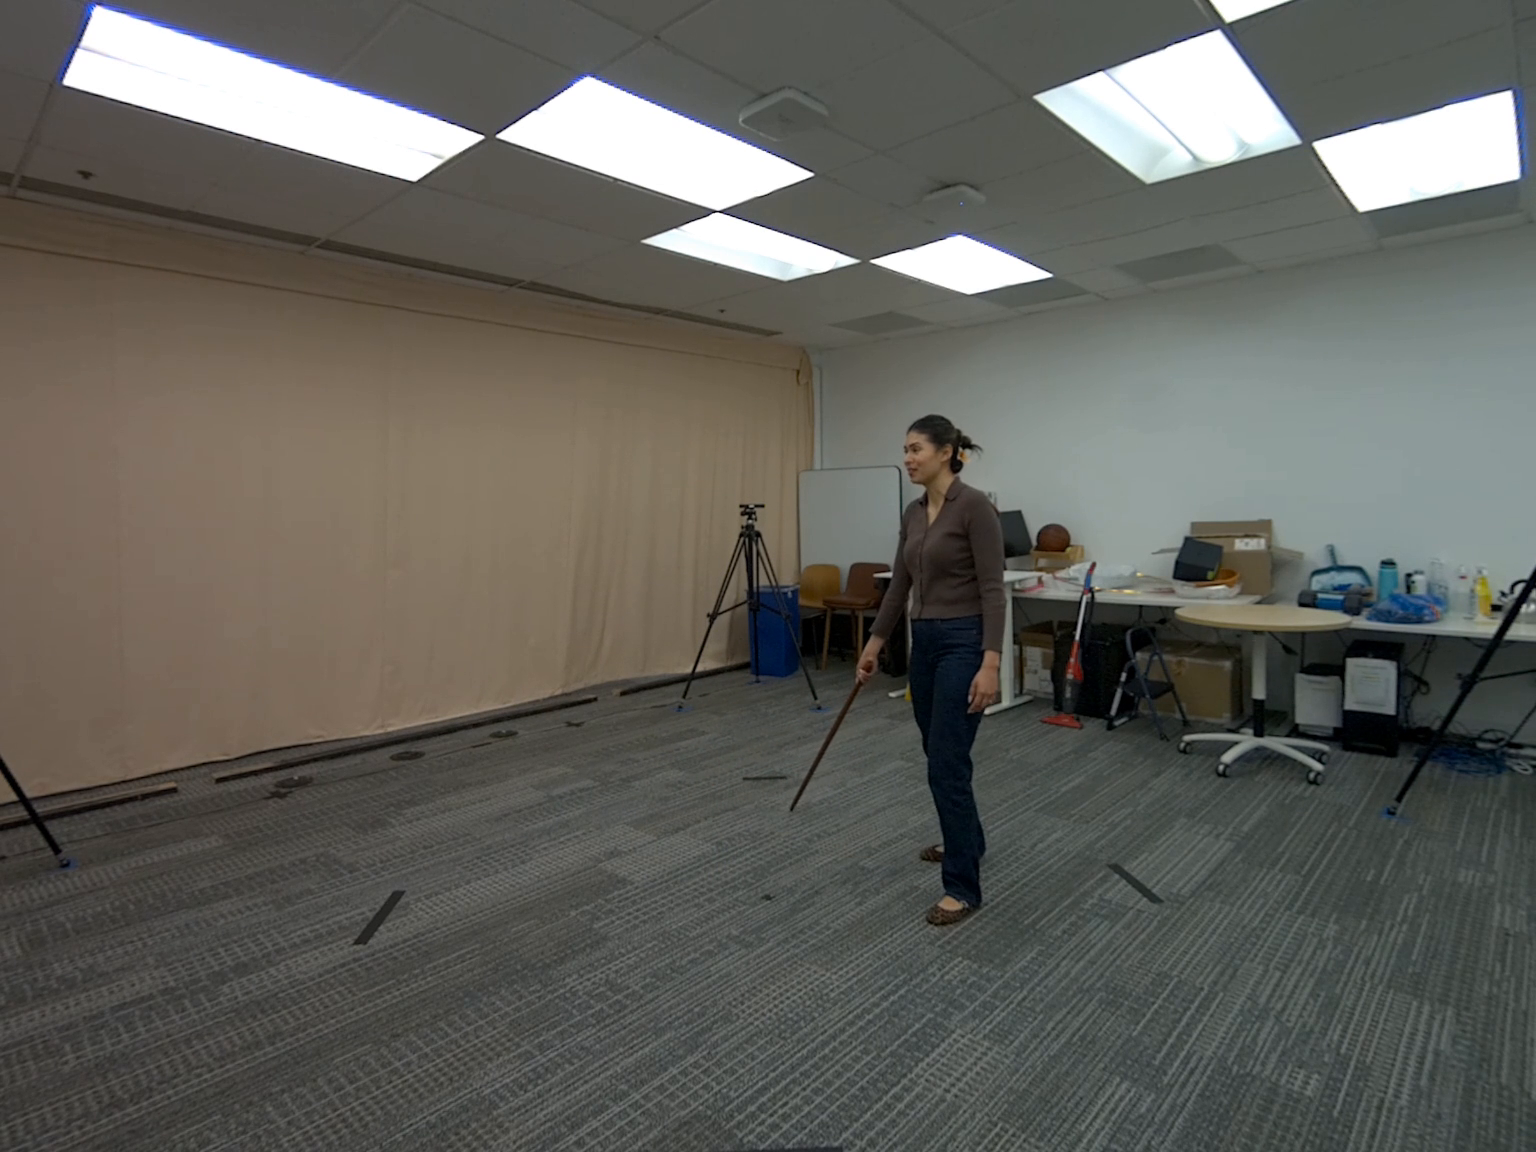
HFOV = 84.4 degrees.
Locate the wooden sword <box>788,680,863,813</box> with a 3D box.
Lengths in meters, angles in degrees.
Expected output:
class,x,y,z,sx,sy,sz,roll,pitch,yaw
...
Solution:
class,x,y,z,sx,sy,sz,roll,pitch,yaw
wooden sword,0.237,0.688,3.514,0.050,1.017,0.025,-4,45,-29
